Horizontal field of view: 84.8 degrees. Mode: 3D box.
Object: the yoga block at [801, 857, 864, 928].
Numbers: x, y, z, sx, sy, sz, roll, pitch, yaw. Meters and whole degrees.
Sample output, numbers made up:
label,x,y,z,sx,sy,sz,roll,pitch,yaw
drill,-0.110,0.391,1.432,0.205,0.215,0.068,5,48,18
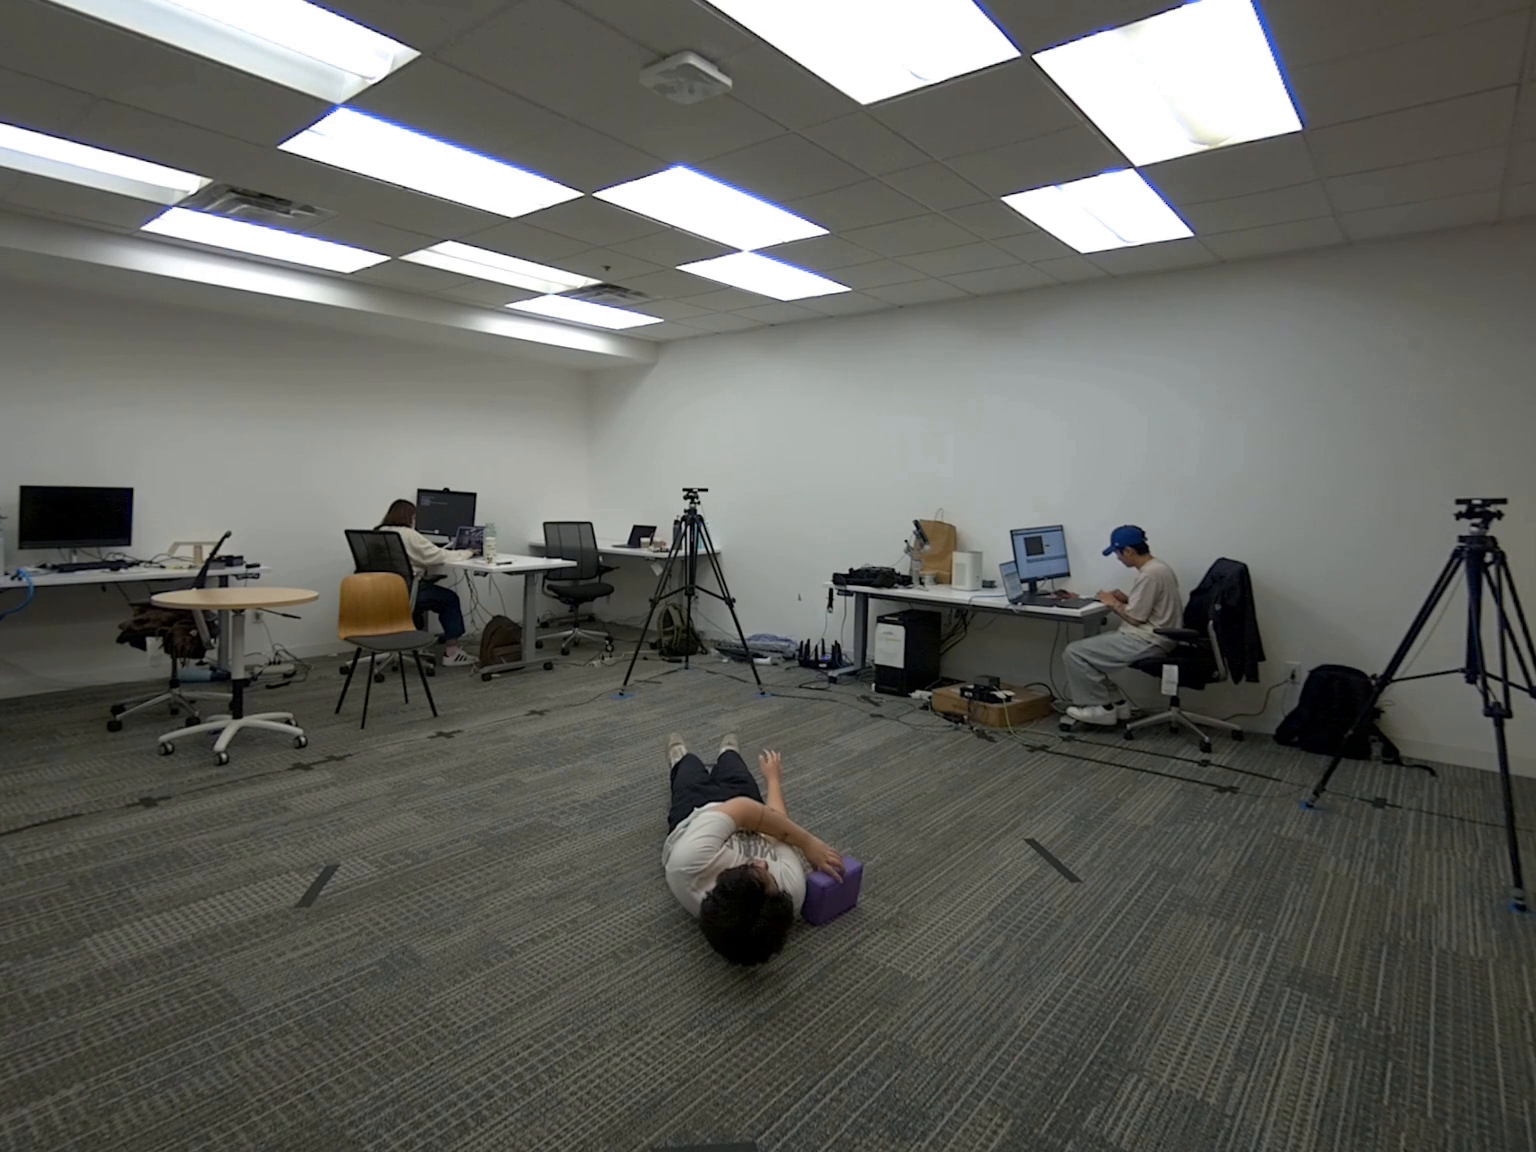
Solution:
label,x,y,z,sx,sy,sz,roll,pitch,yaw
yoga block,0.205,1.035,2.800,0.079,0.148,0.222,16,12,42
